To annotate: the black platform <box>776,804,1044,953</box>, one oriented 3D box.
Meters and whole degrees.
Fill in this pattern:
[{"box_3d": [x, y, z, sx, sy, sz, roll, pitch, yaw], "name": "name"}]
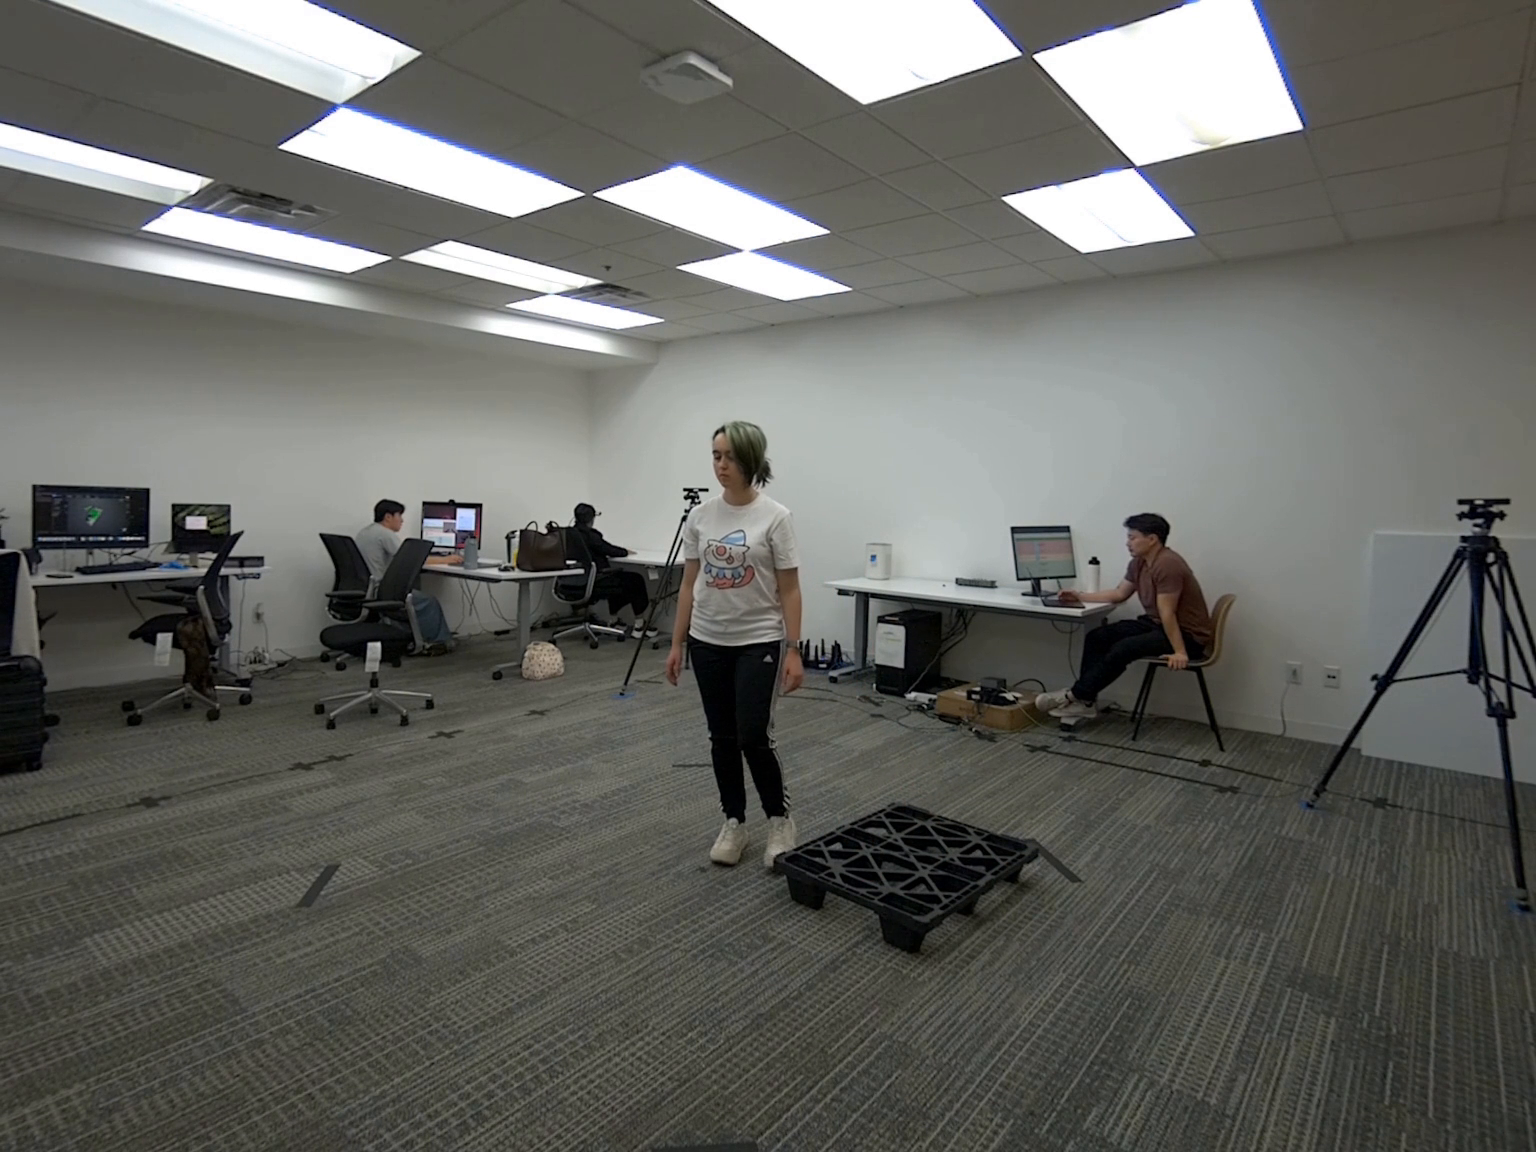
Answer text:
[{"box_3d": [0.481, 1.034, 2.984, 0.626, 0.143, 0.781, 6, 7, 42], "name": "black platform"}]
